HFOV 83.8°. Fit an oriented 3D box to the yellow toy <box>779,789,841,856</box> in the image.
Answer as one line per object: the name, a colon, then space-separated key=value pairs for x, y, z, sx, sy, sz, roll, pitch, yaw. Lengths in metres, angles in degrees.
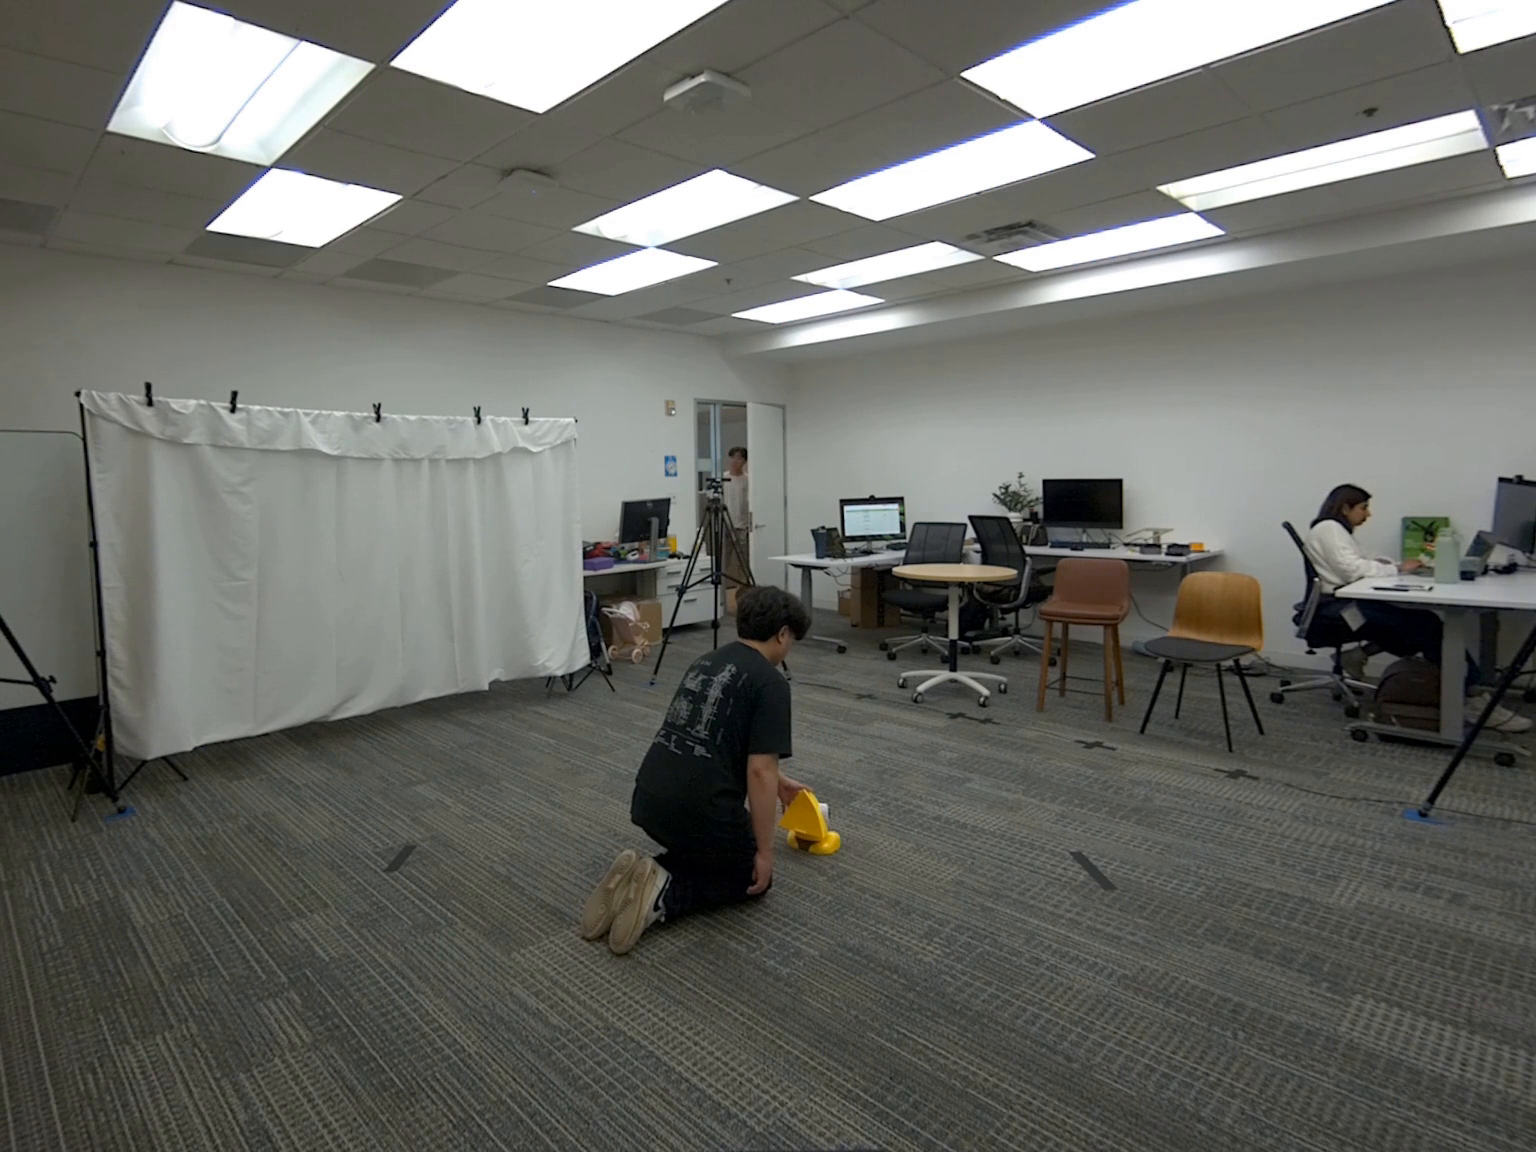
yellow toy: x=0.172 y=0.910 z=3.252 sx=0.211 sy=0.230 sz=0.188 roll=3 pitch=6 yaw=36
